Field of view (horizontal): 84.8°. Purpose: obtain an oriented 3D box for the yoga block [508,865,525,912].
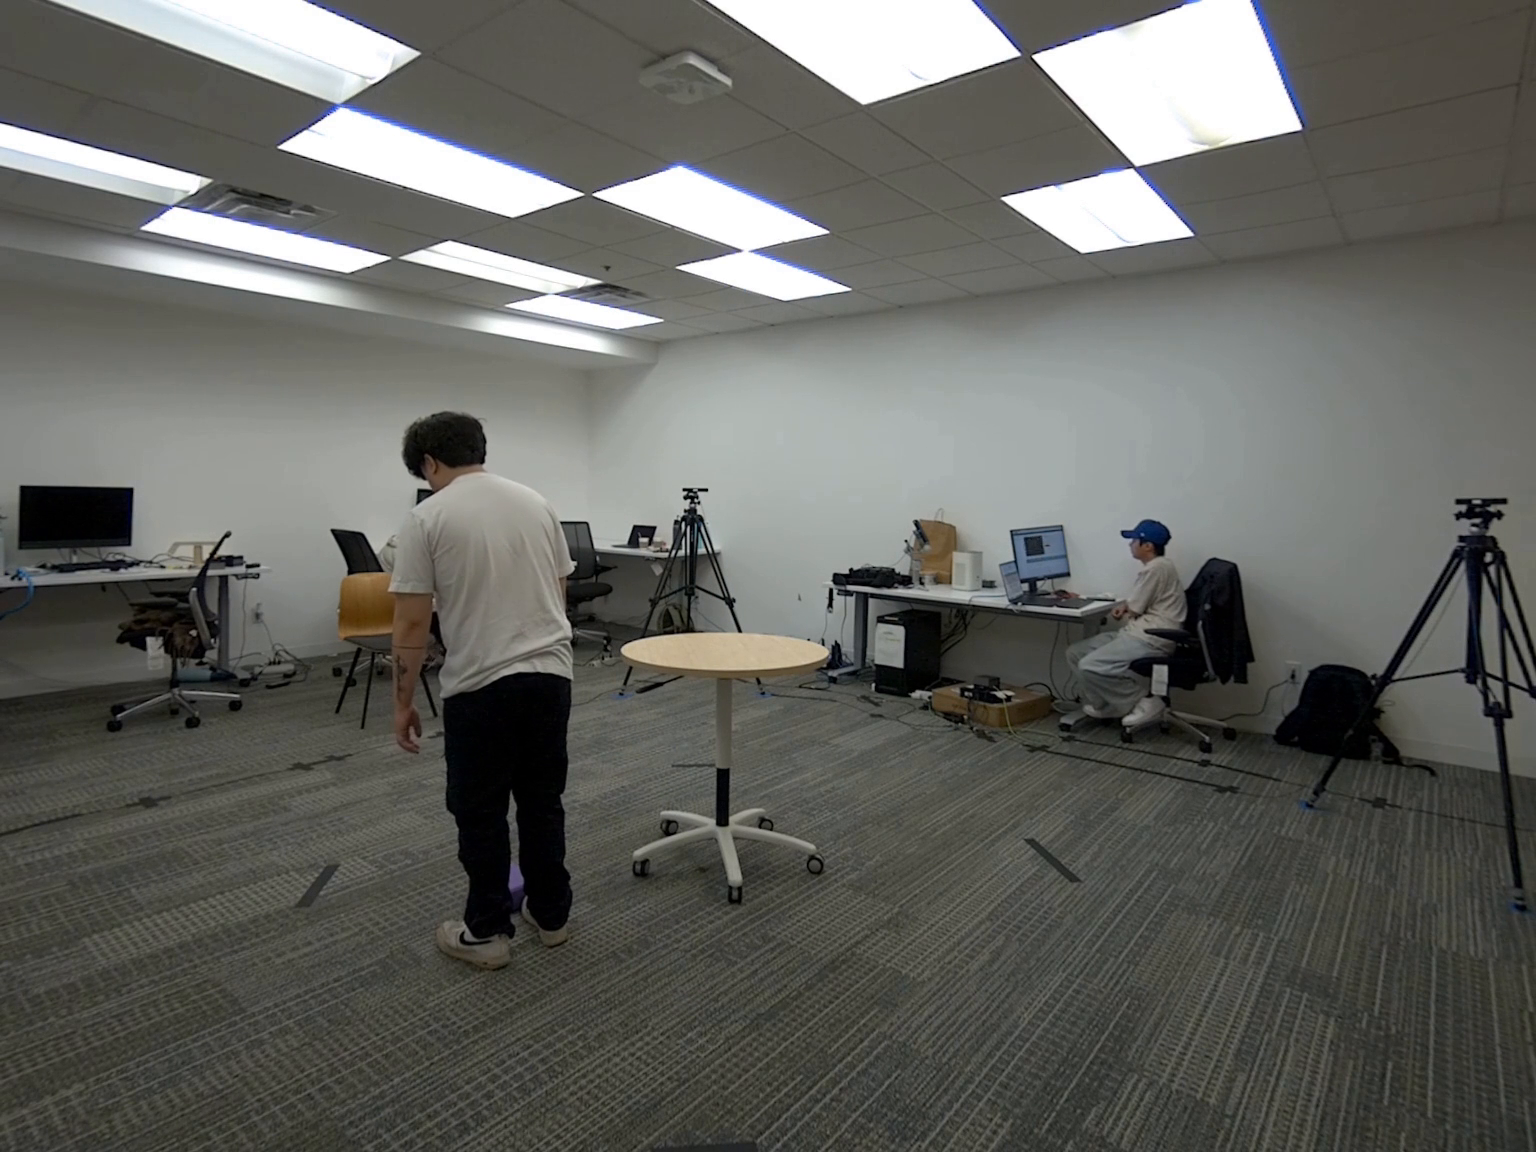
[{"bbox_3d":[-0.891,1.038,2.875,0.237,0.076,0.145,3,5,37],"label":"yoga block"}]
